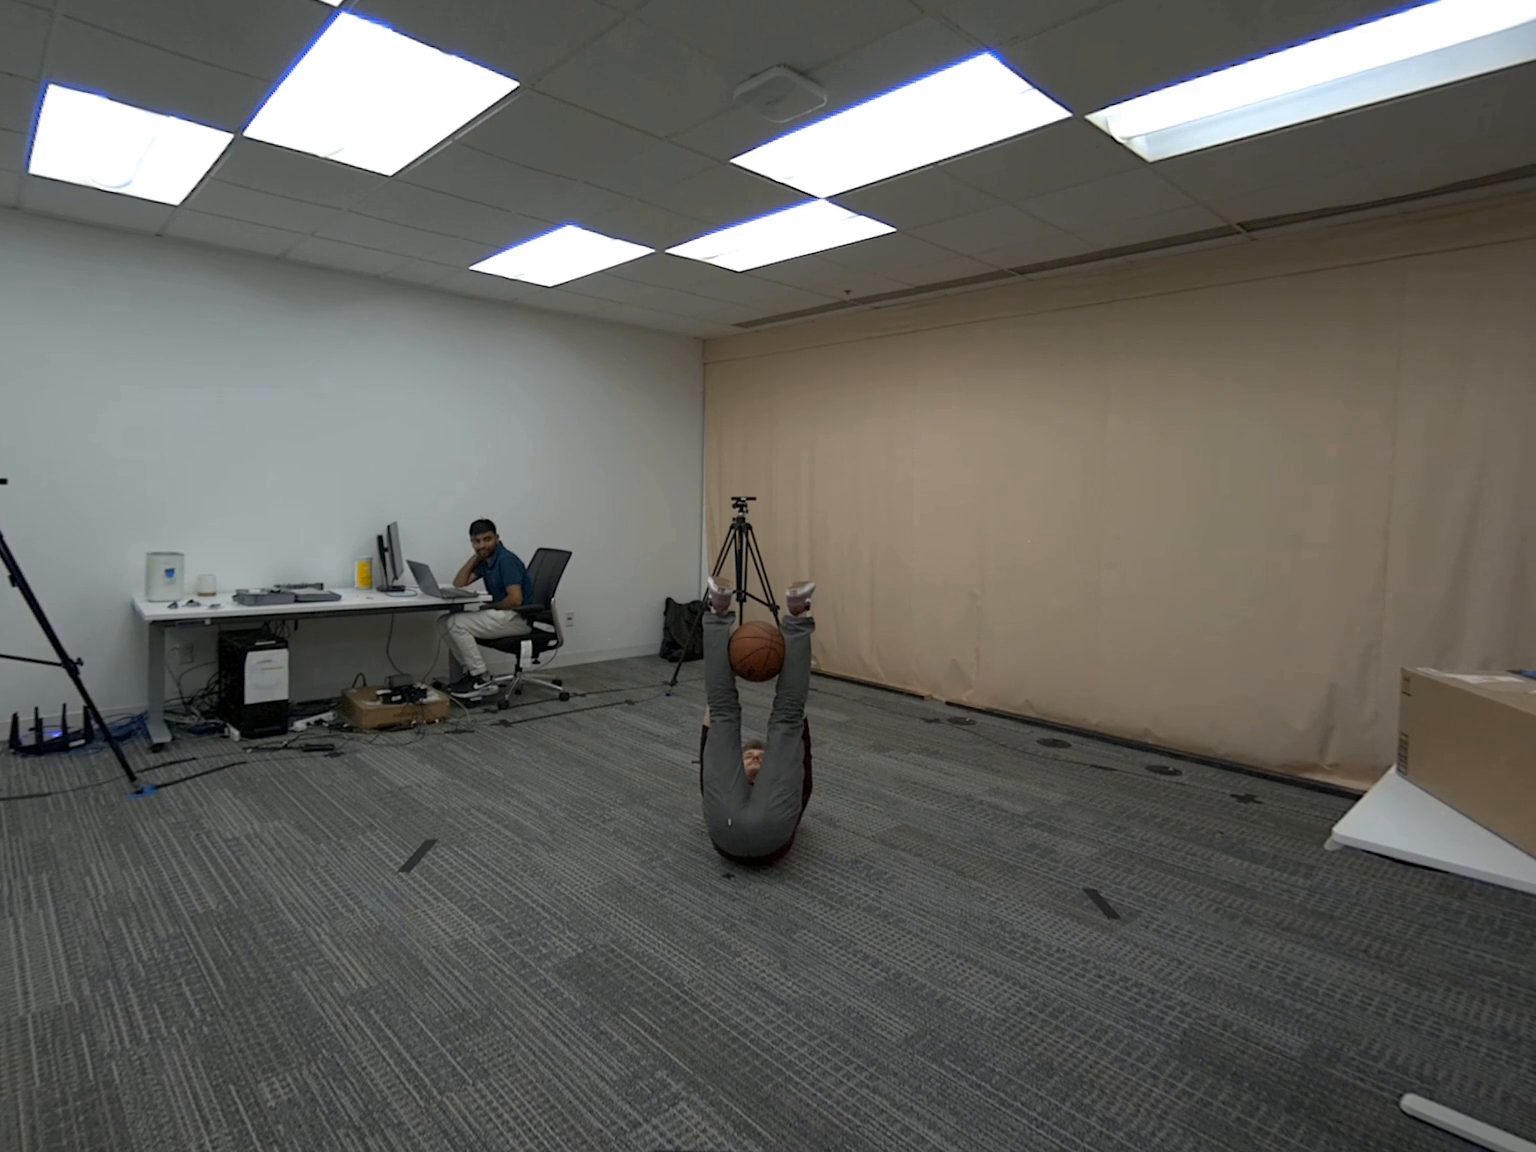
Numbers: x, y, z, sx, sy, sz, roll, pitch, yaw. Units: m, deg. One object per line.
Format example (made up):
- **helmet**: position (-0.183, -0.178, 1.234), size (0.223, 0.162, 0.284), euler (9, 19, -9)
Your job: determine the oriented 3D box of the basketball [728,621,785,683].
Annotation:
- **basketball**: position (-0.049, 0.297, 3.297), size (0.236, 0.235, 0.237), euler (1, 4, -1)
